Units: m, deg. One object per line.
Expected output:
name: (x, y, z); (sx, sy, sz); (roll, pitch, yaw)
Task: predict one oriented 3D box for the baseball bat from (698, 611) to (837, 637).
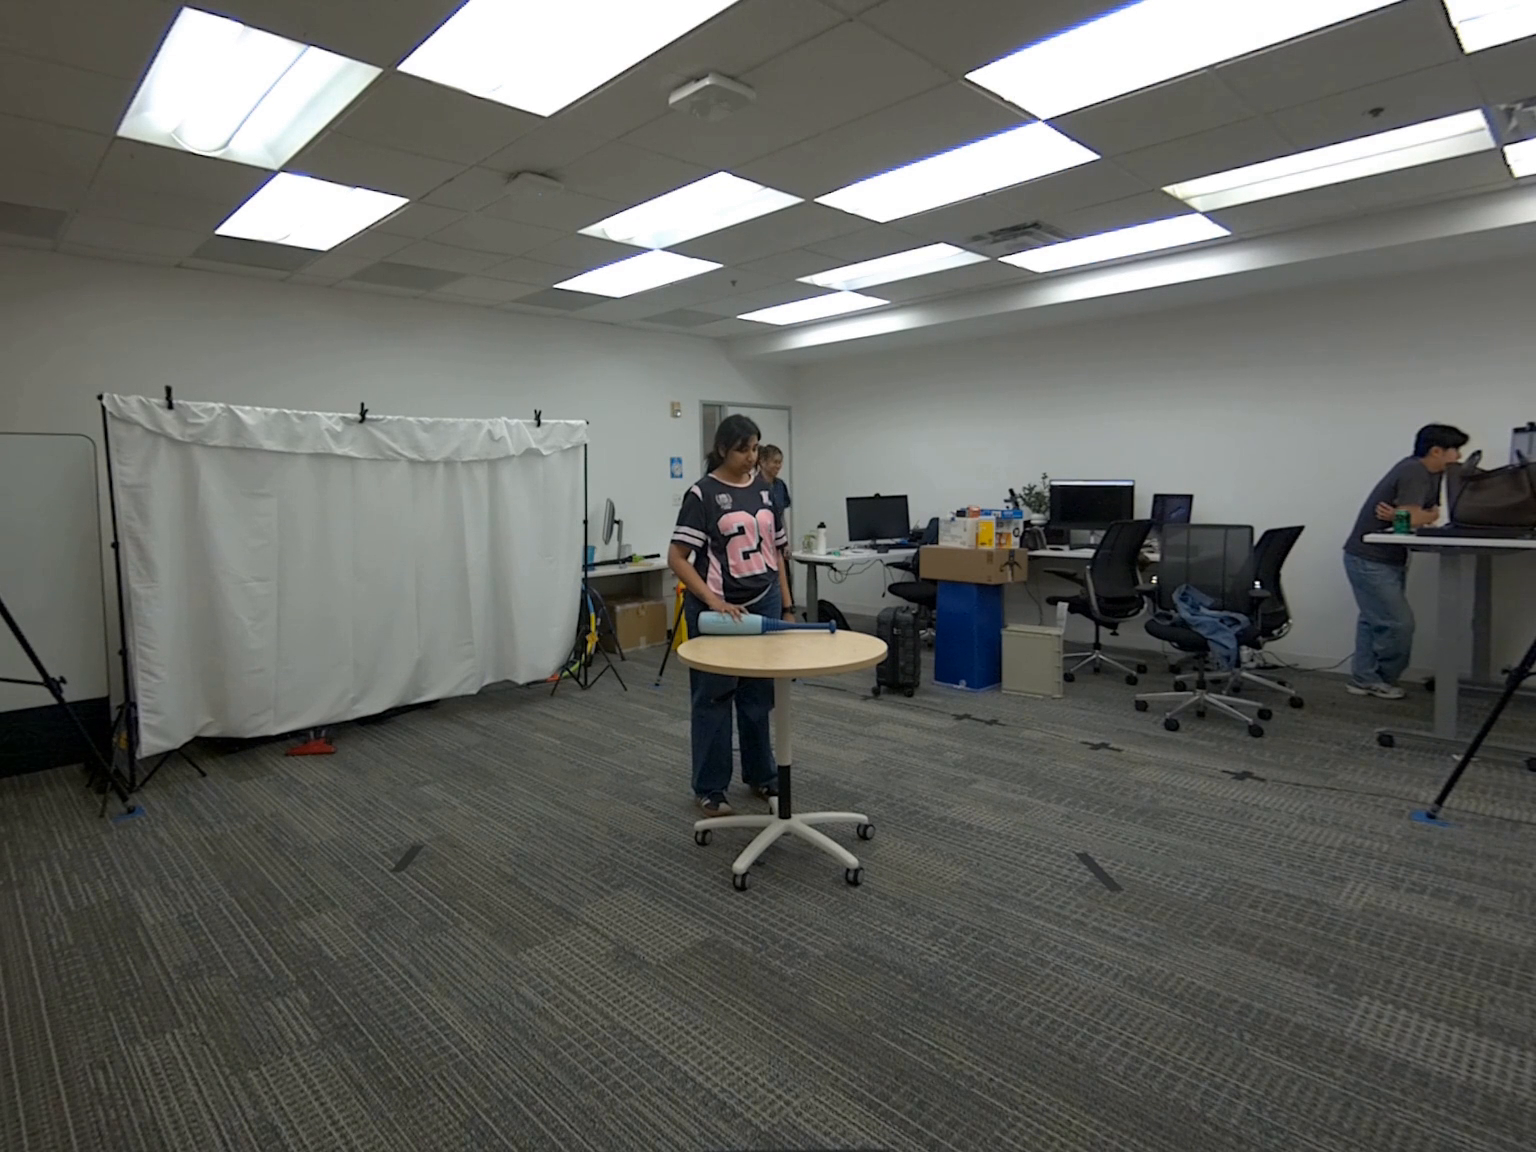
baseball bat: (-0.009, 0.194, 3.388); (0.543, 0.089, 0.089); (2, 5, 0)
